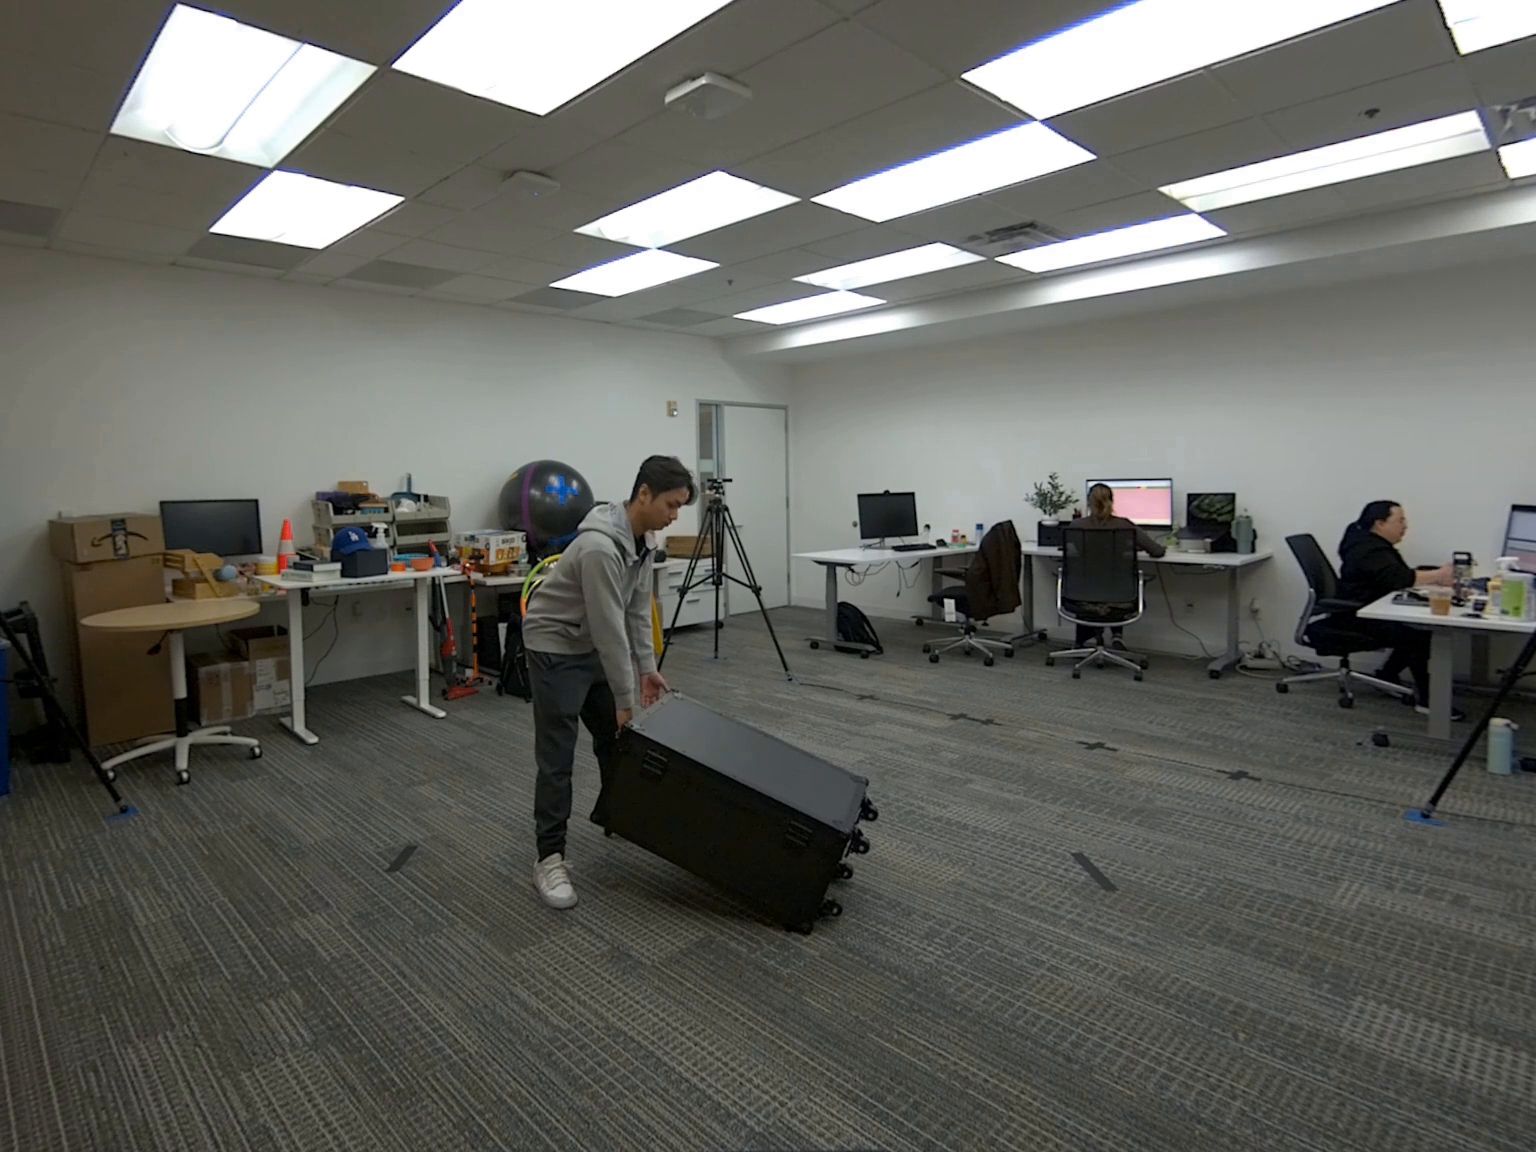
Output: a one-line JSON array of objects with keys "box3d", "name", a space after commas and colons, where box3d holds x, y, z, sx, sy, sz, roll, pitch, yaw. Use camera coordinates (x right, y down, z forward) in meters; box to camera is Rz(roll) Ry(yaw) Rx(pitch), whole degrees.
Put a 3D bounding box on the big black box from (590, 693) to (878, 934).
[{"box3d": [-0.094, 0.773, 2.893, 0.876, 0.394, 0.515, 20, 10, 13], "name": "big black box"}]
